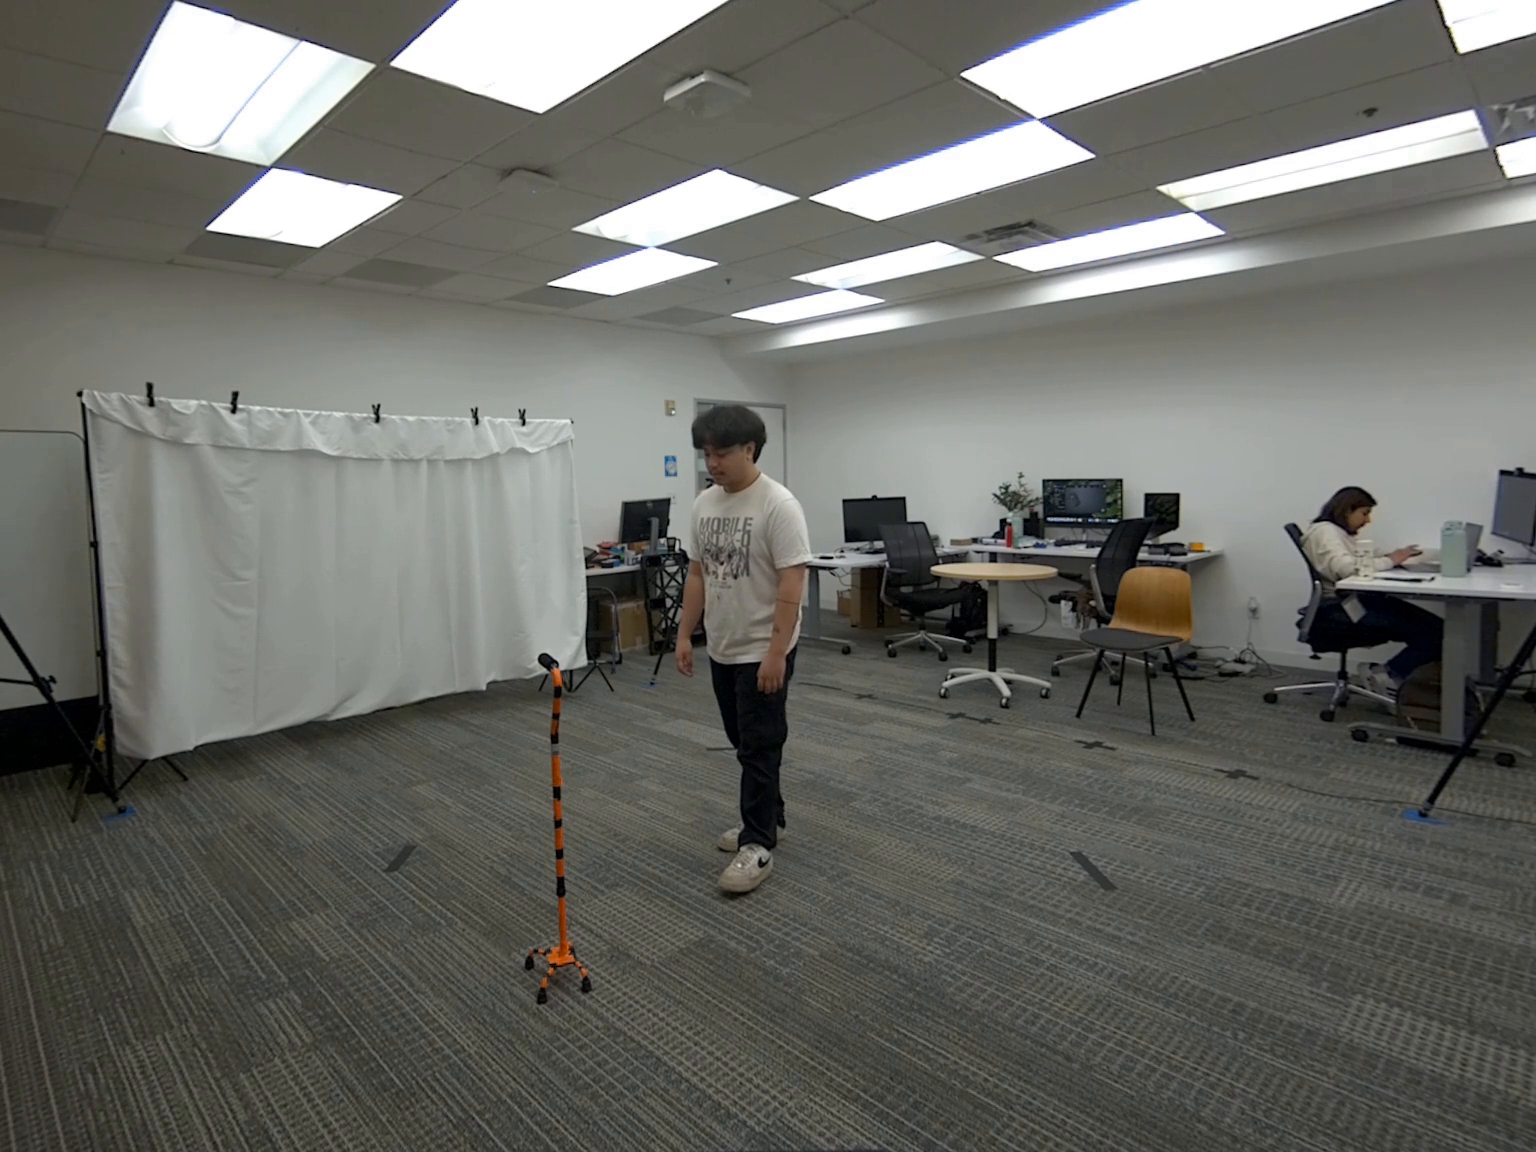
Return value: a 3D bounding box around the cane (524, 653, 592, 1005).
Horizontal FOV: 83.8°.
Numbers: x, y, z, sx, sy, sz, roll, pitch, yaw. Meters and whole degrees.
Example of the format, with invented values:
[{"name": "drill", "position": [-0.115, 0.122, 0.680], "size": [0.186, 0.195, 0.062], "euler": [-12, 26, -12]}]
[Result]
[{"name": "cane", "position": [-0.598, 0.688, 2.385], "size": [0.148, 0.905, 0.211], "euler": [-2, 4, -25]}]
